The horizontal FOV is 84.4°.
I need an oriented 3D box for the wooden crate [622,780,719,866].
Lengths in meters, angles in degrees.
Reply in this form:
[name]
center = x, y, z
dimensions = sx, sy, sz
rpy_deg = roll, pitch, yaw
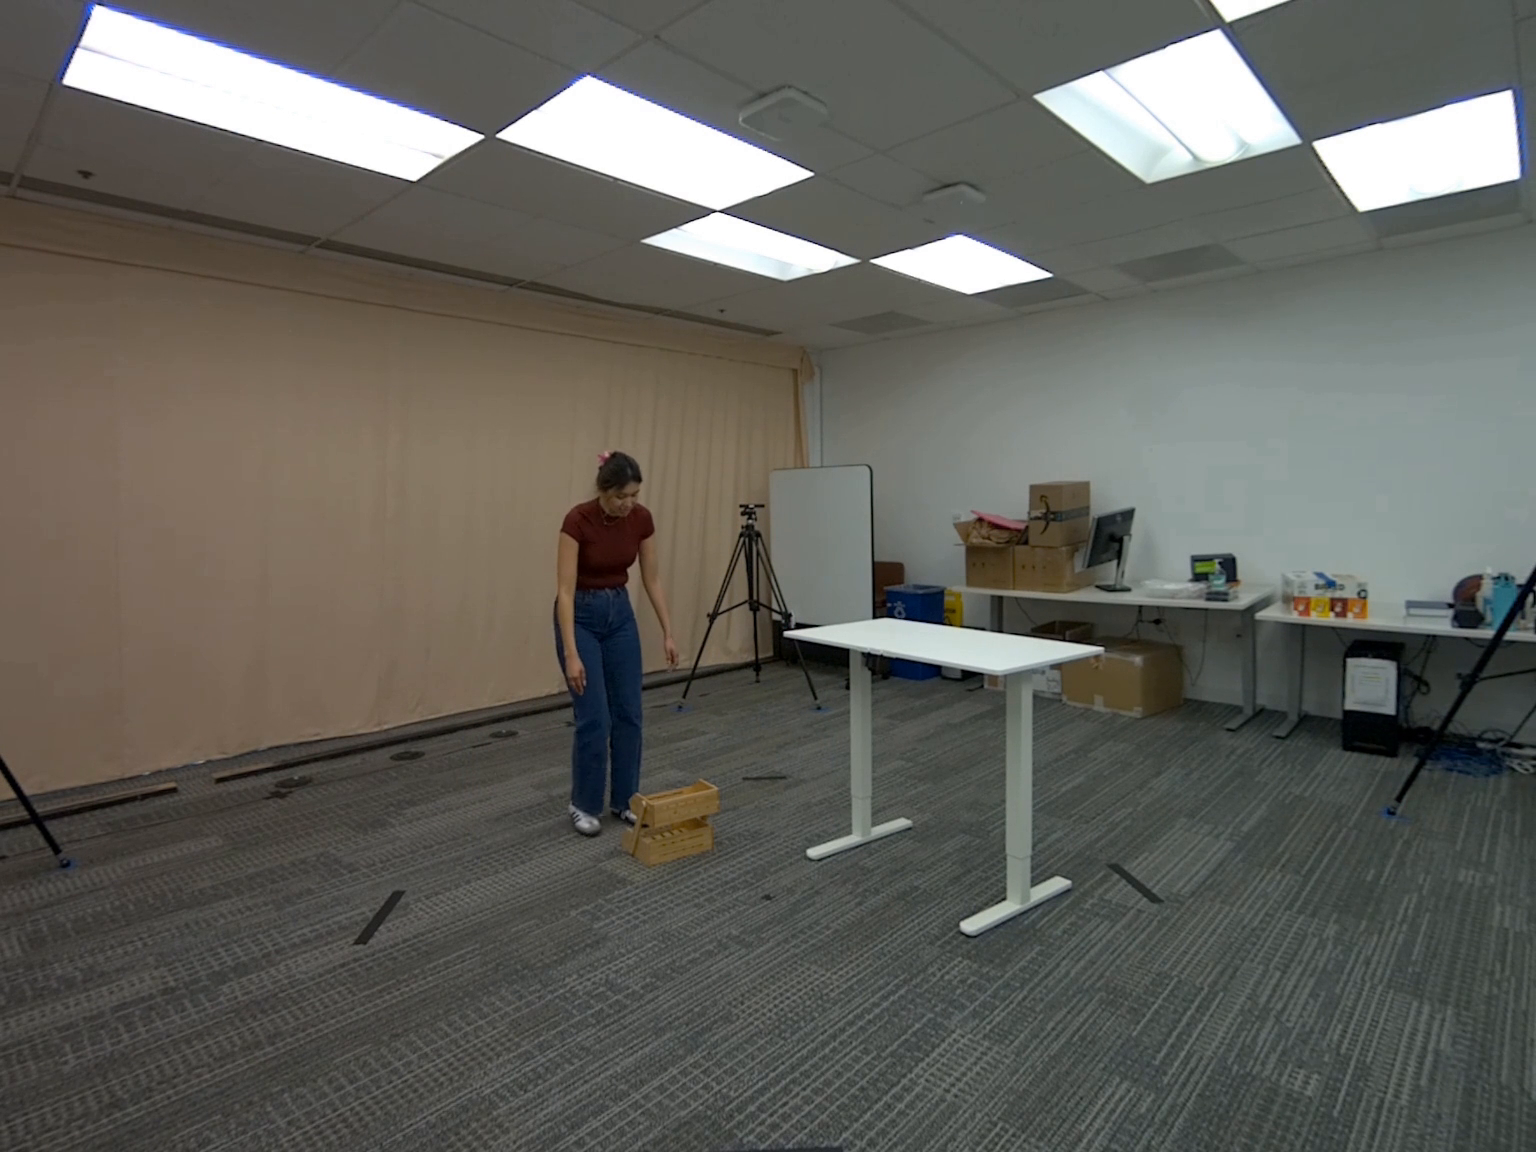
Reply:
[wooden crate]
center = -0.404, 0.977, 3.418
dimensions = 0.315, 0.272, 0.311
rpy_deg = -4, 5, -33
